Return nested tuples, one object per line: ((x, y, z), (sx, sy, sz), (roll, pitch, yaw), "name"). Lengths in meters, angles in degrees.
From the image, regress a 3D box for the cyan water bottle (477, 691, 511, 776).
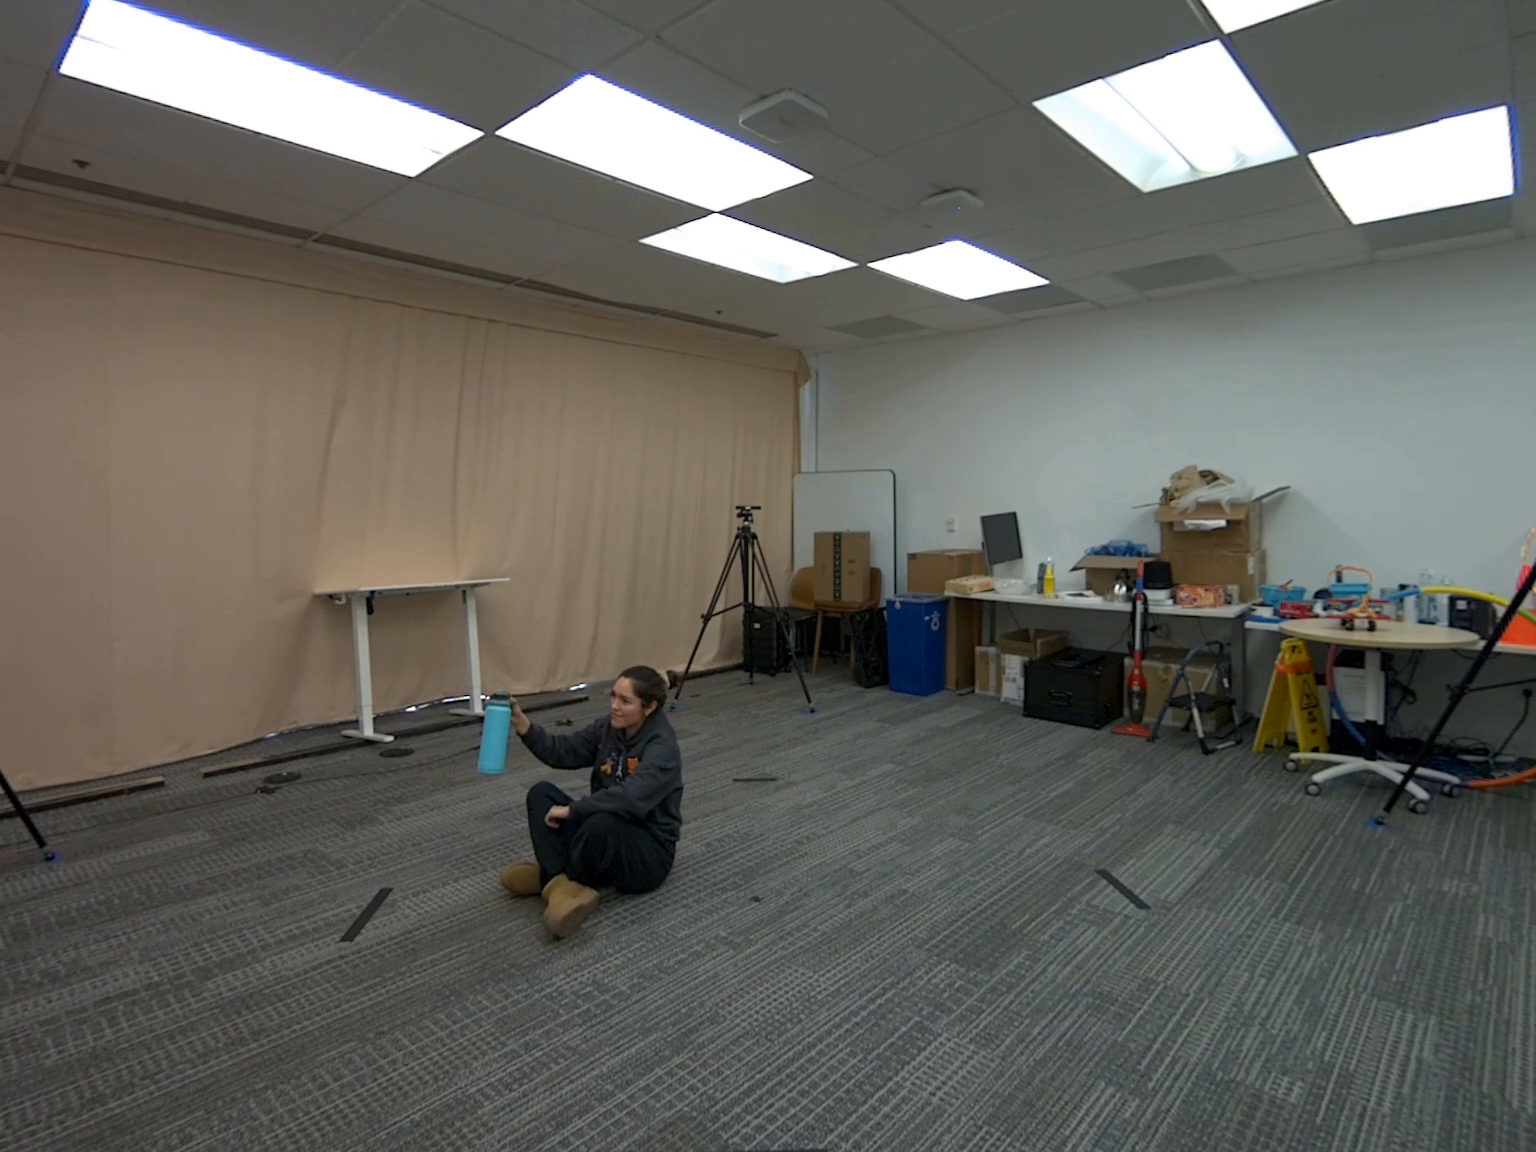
((-0.939, 0.551, 2.961), (0.092, 0.285, 0.092), (2, -12, -1), "cyan water bottle")
